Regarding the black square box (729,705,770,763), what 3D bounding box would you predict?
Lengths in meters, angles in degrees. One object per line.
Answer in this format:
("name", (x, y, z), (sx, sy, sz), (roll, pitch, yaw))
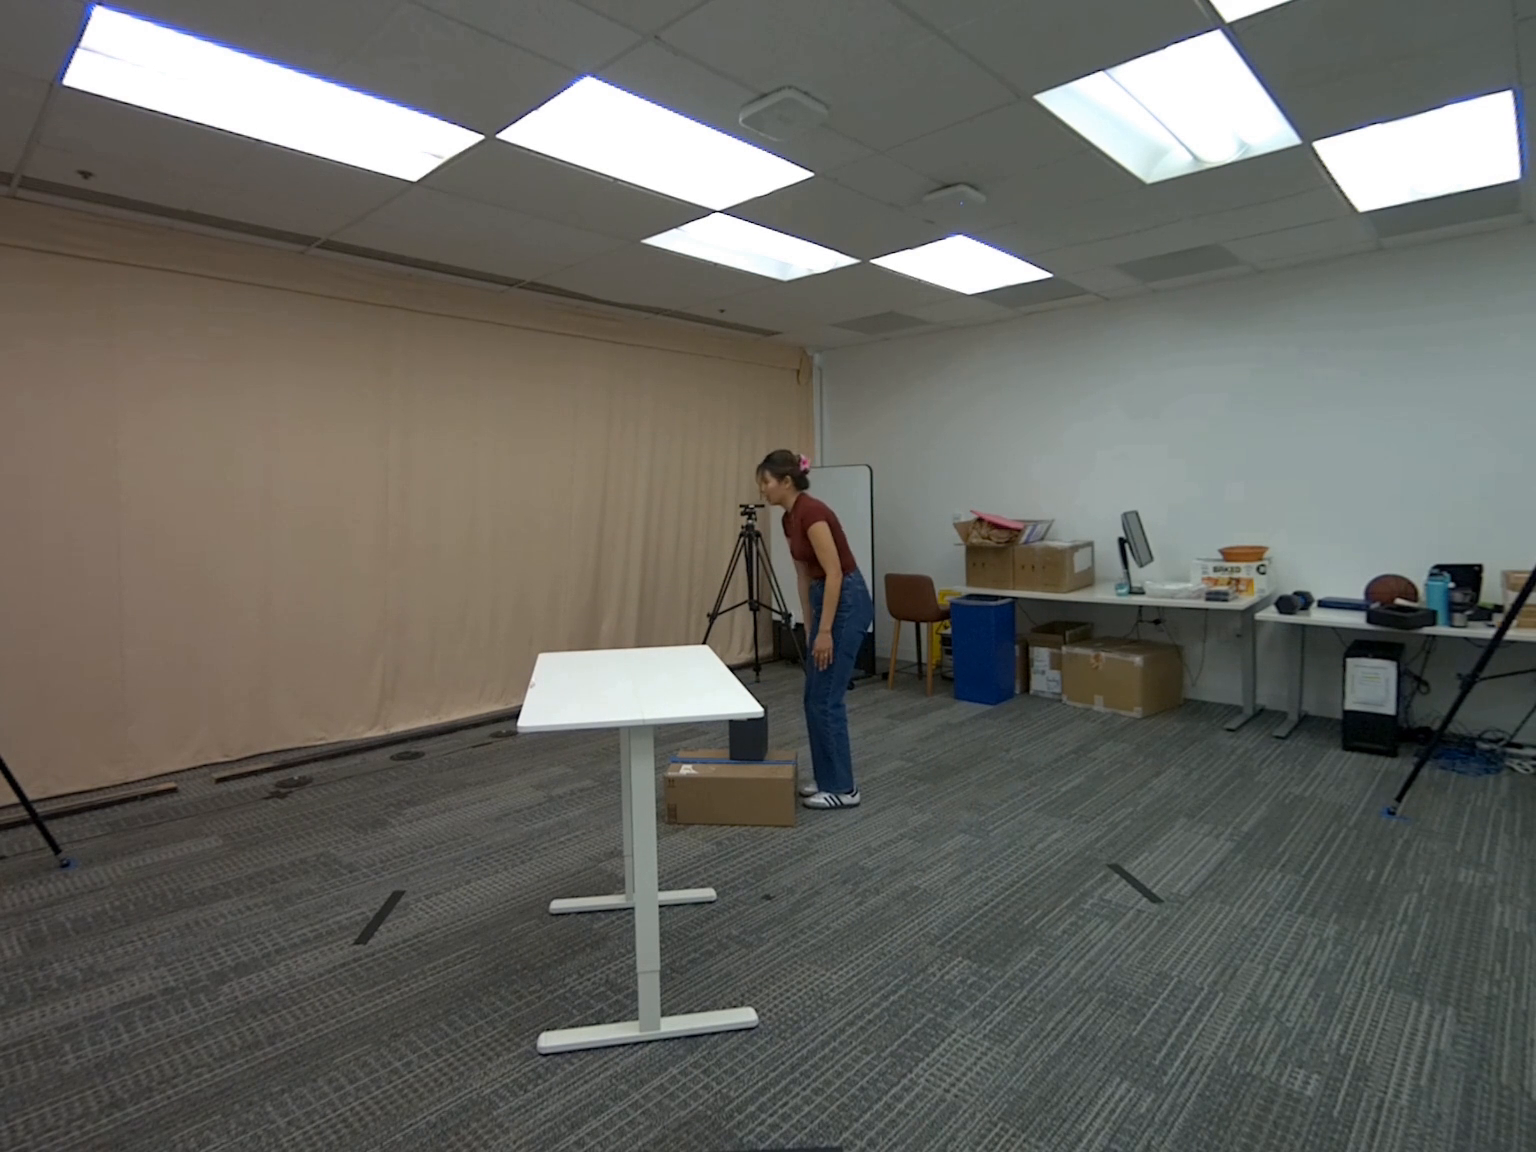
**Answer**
("black square box", (-0.086, 0.732, 3.967), (0.157, 0.217, 0.226), (-1, 0, 8))
